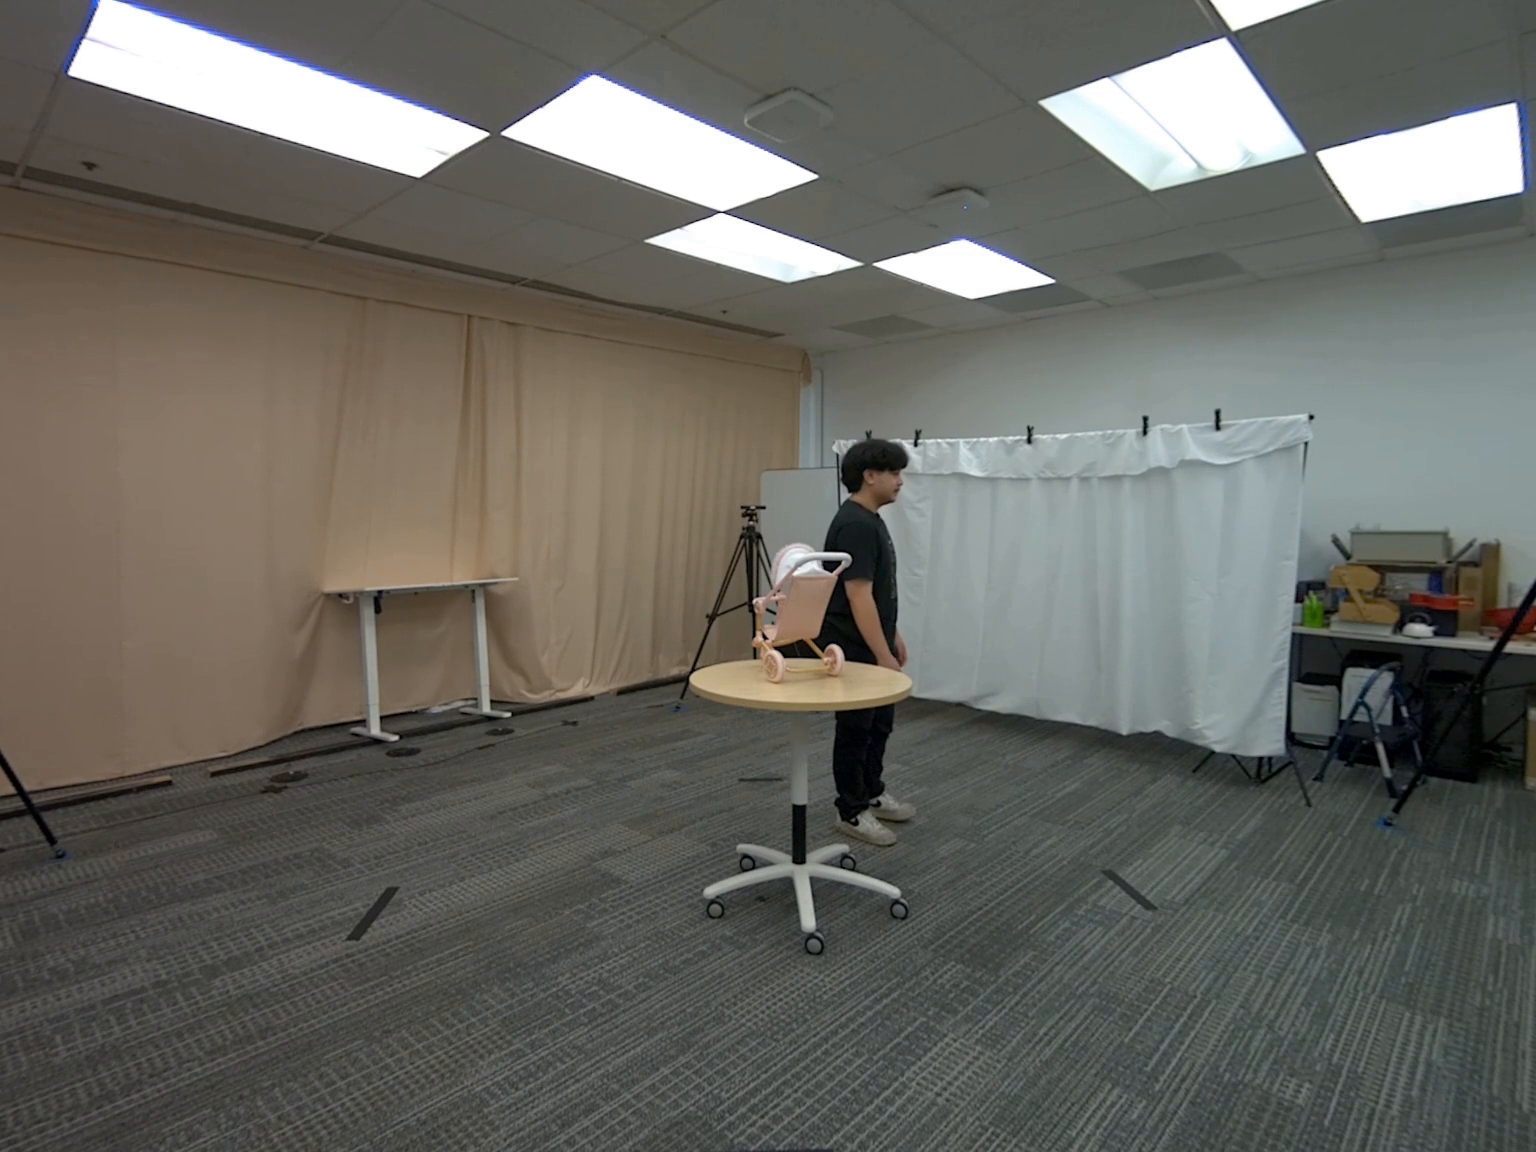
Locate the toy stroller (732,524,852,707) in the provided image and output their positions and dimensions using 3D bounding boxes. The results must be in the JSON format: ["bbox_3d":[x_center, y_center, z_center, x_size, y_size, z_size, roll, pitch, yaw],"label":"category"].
[{"bbox_3d":[0.098,0.123,2.959,0.275,0.531,0.352,0,17,-25],"label":"toy stroller"}]
